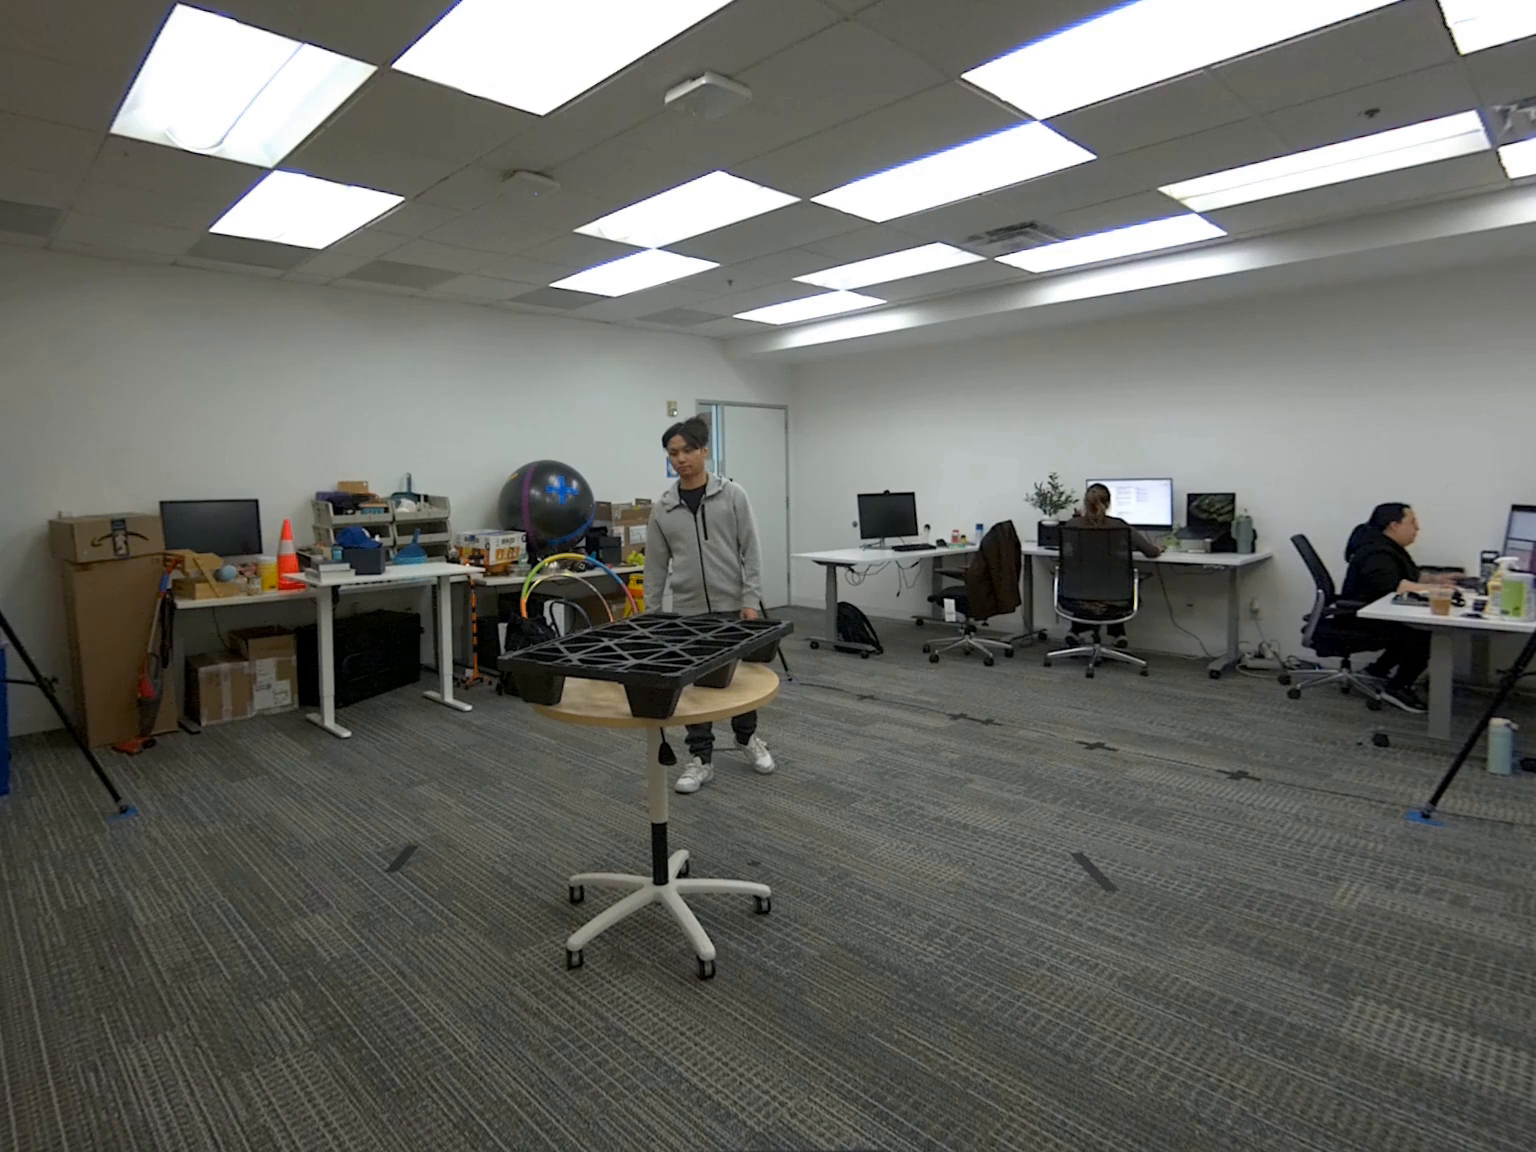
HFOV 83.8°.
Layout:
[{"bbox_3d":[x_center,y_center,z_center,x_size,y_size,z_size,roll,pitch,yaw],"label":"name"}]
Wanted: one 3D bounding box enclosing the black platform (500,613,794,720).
[{"bbox_3d":[-0.356,0.258,2.643,0.619,0.142,0.791,1,7,26],"label":"black platform"}]
